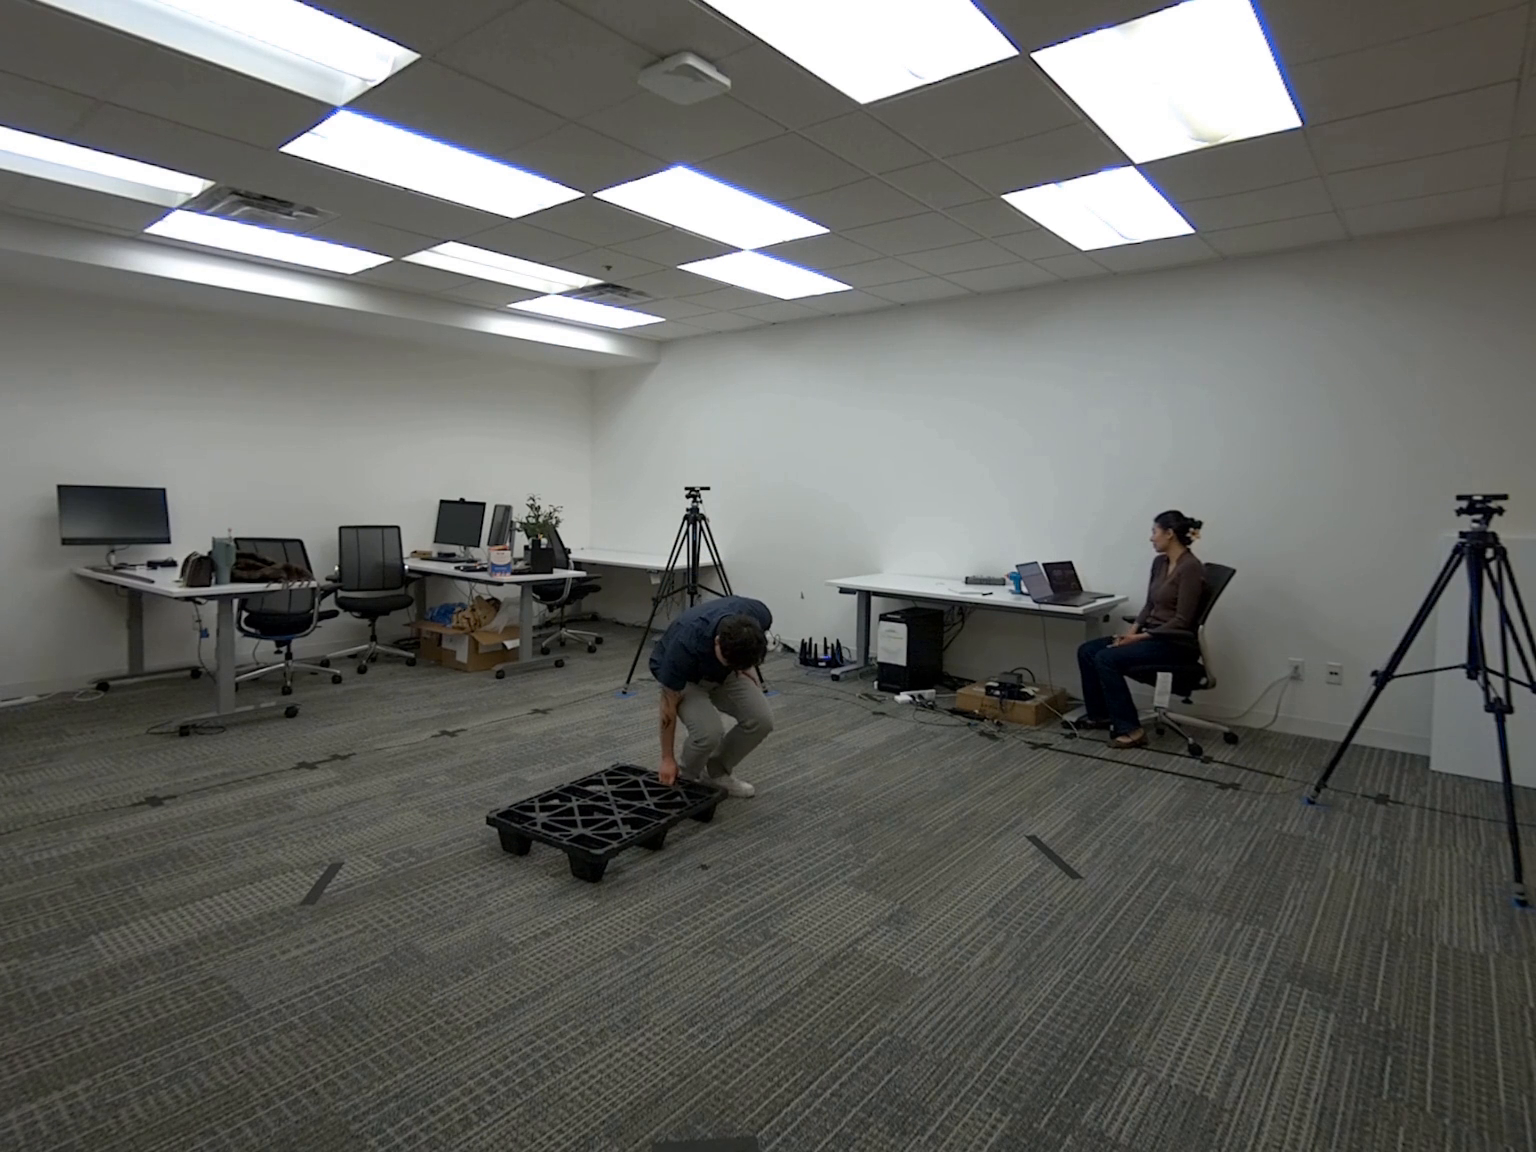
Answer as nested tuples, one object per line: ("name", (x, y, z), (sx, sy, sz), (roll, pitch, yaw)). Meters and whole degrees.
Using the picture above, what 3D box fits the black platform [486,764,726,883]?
("black platform", (-0.637, 0.964, 3.396), (0.624, 0.143, 0.784), (3, 6, 33))
